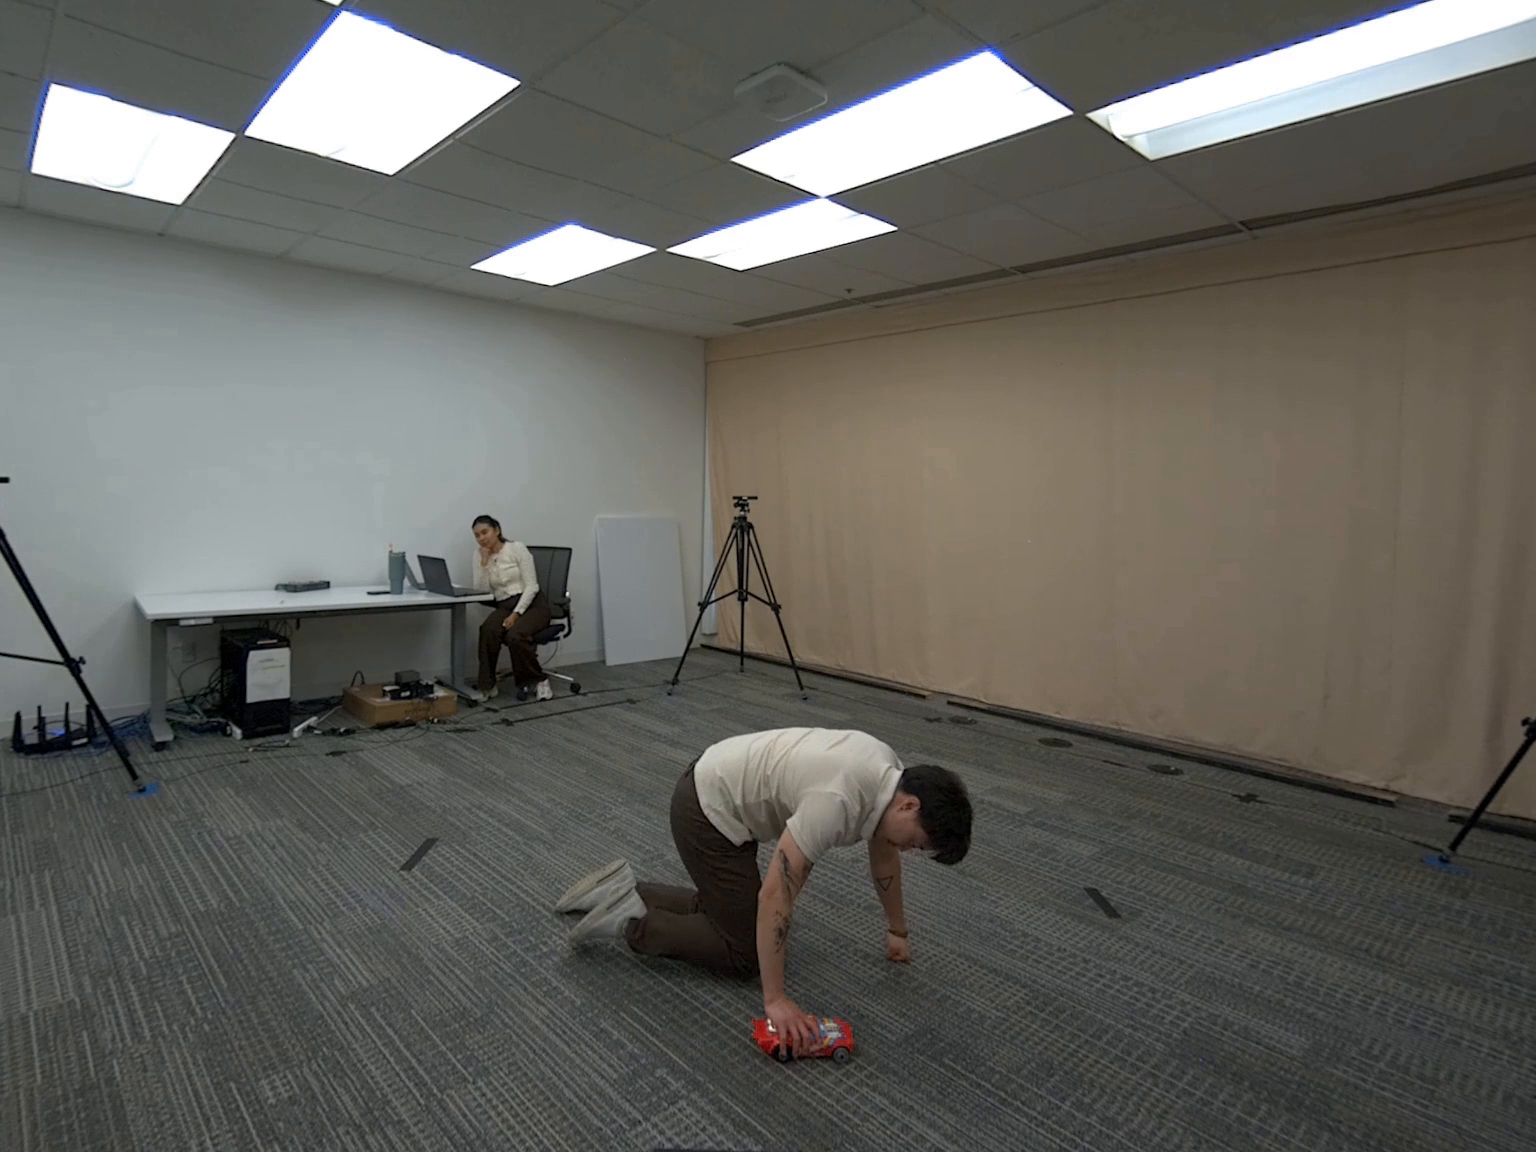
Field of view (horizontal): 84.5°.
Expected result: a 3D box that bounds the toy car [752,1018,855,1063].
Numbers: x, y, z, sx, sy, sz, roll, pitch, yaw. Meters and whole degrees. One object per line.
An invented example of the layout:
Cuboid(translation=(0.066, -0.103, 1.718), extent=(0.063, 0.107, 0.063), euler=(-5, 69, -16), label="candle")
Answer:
Cuboid(translation=(0.083, 1.171, 2.127), extent=(0.254, 0.083, 0.131), euler=(11, 5, -2), label="toy car")
